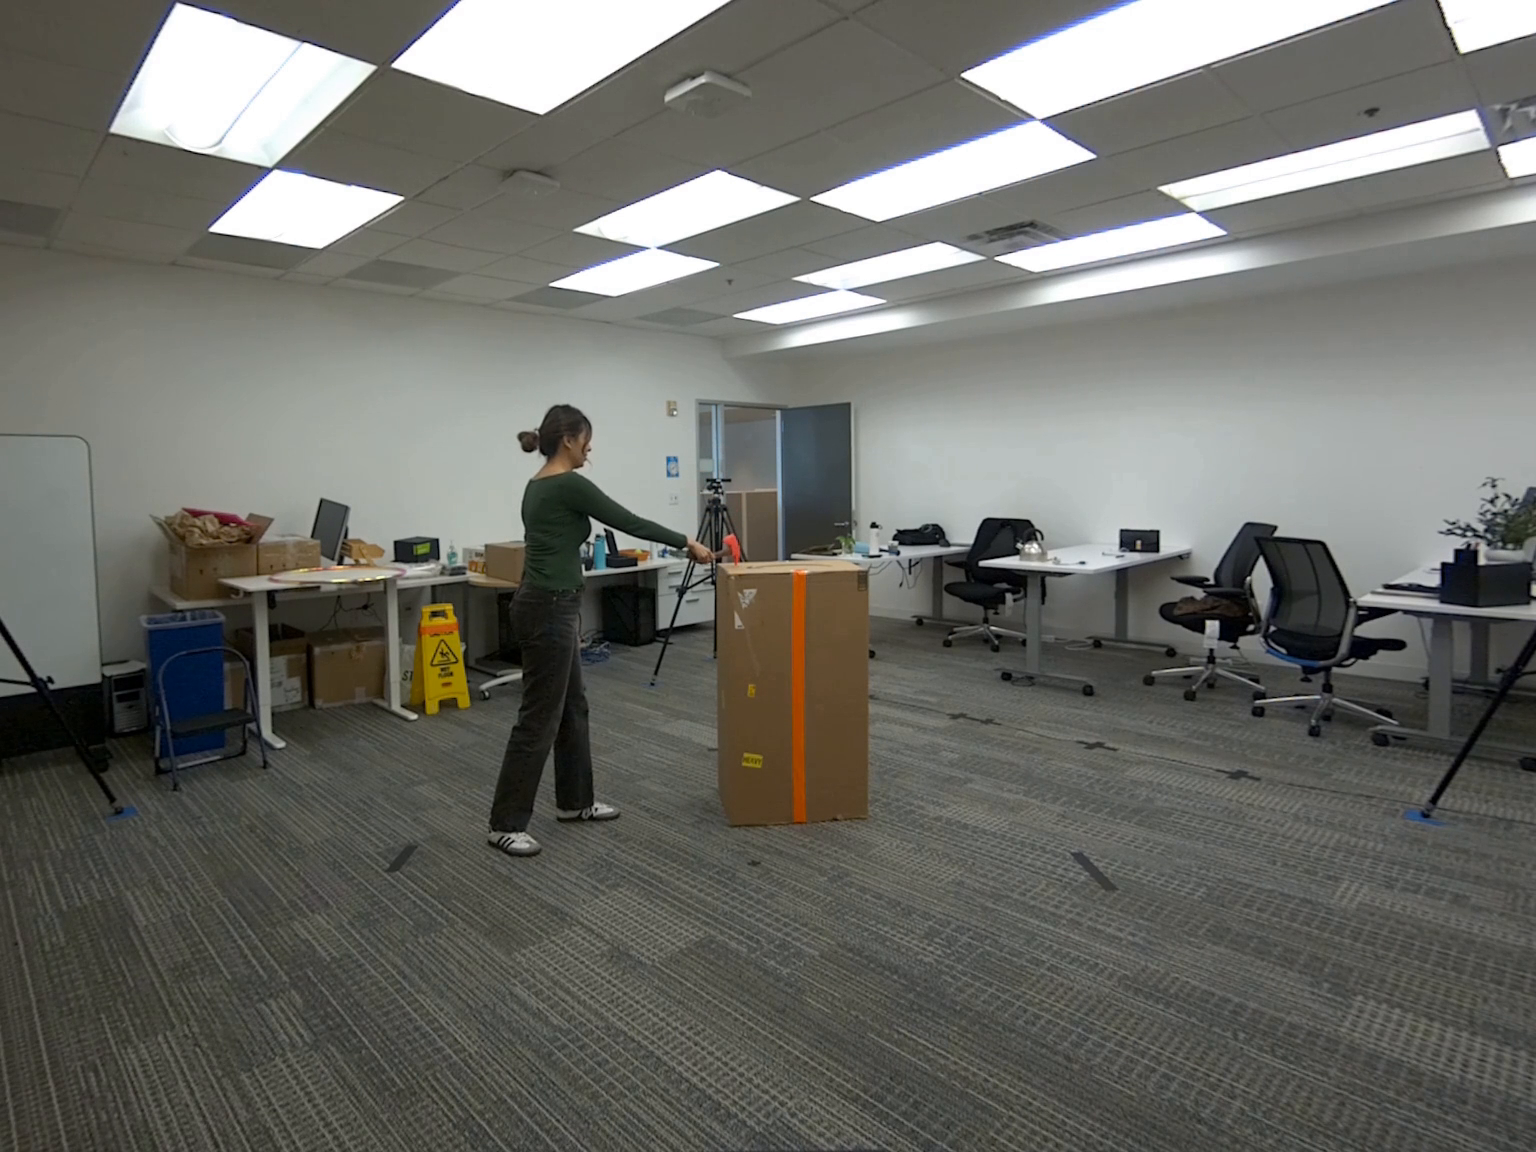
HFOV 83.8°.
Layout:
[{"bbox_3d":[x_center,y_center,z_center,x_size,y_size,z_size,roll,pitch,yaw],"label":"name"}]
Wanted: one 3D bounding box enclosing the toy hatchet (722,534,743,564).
[{"bbox_3d":[-0.229,-0.129,3.587,0.262,0.131,0.030,5,4,-34],"label":"toy hatchet"}]
